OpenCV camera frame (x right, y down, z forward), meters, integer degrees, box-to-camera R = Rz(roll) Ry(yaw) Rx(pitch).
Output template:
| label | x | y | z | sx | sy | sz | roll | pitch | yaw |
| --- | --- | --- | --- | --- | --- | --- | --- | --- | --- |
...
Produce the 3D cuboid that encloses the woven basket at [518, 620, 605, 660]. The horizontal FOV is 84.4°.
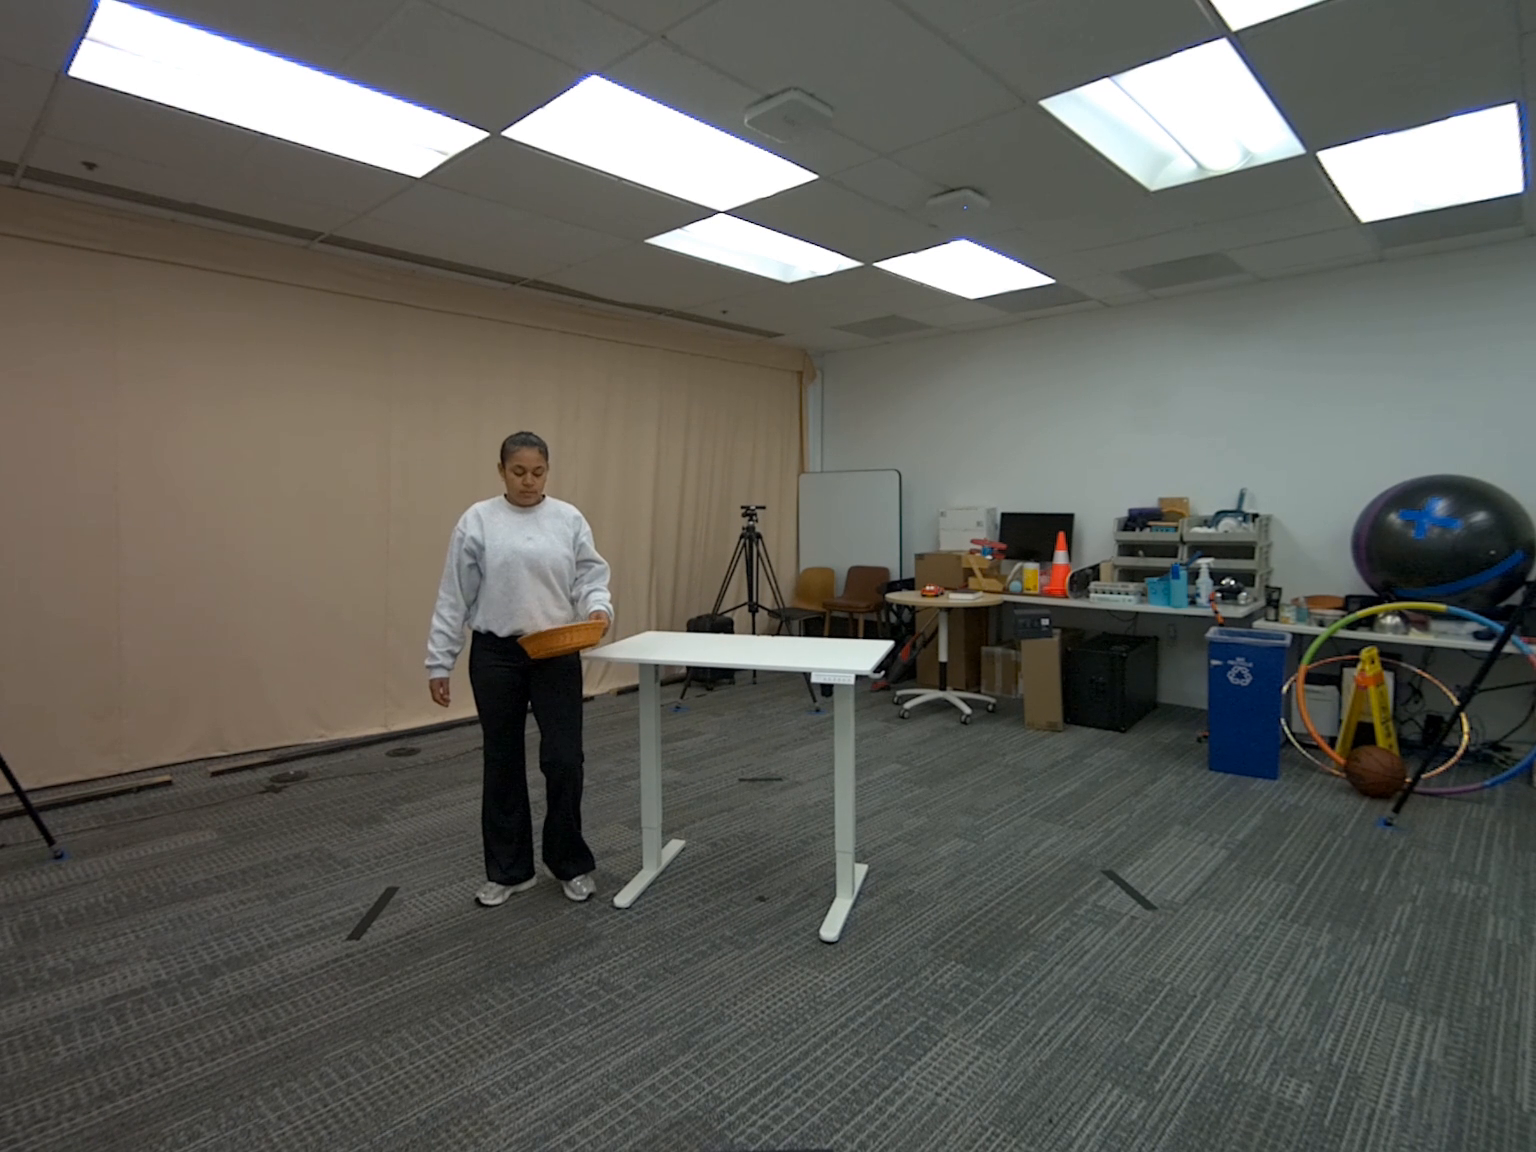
| label | x | y | z | sx | sy | sz | roll | pitch | yaw |
| --- | --- | --- | --- | --- | --- | --- | --- | --- | --- |
| woven basket | -0.661 | 0.208 | 2.712 | 0.245 | 0.074 | 0.358 | -5 | -8 | -33 |
